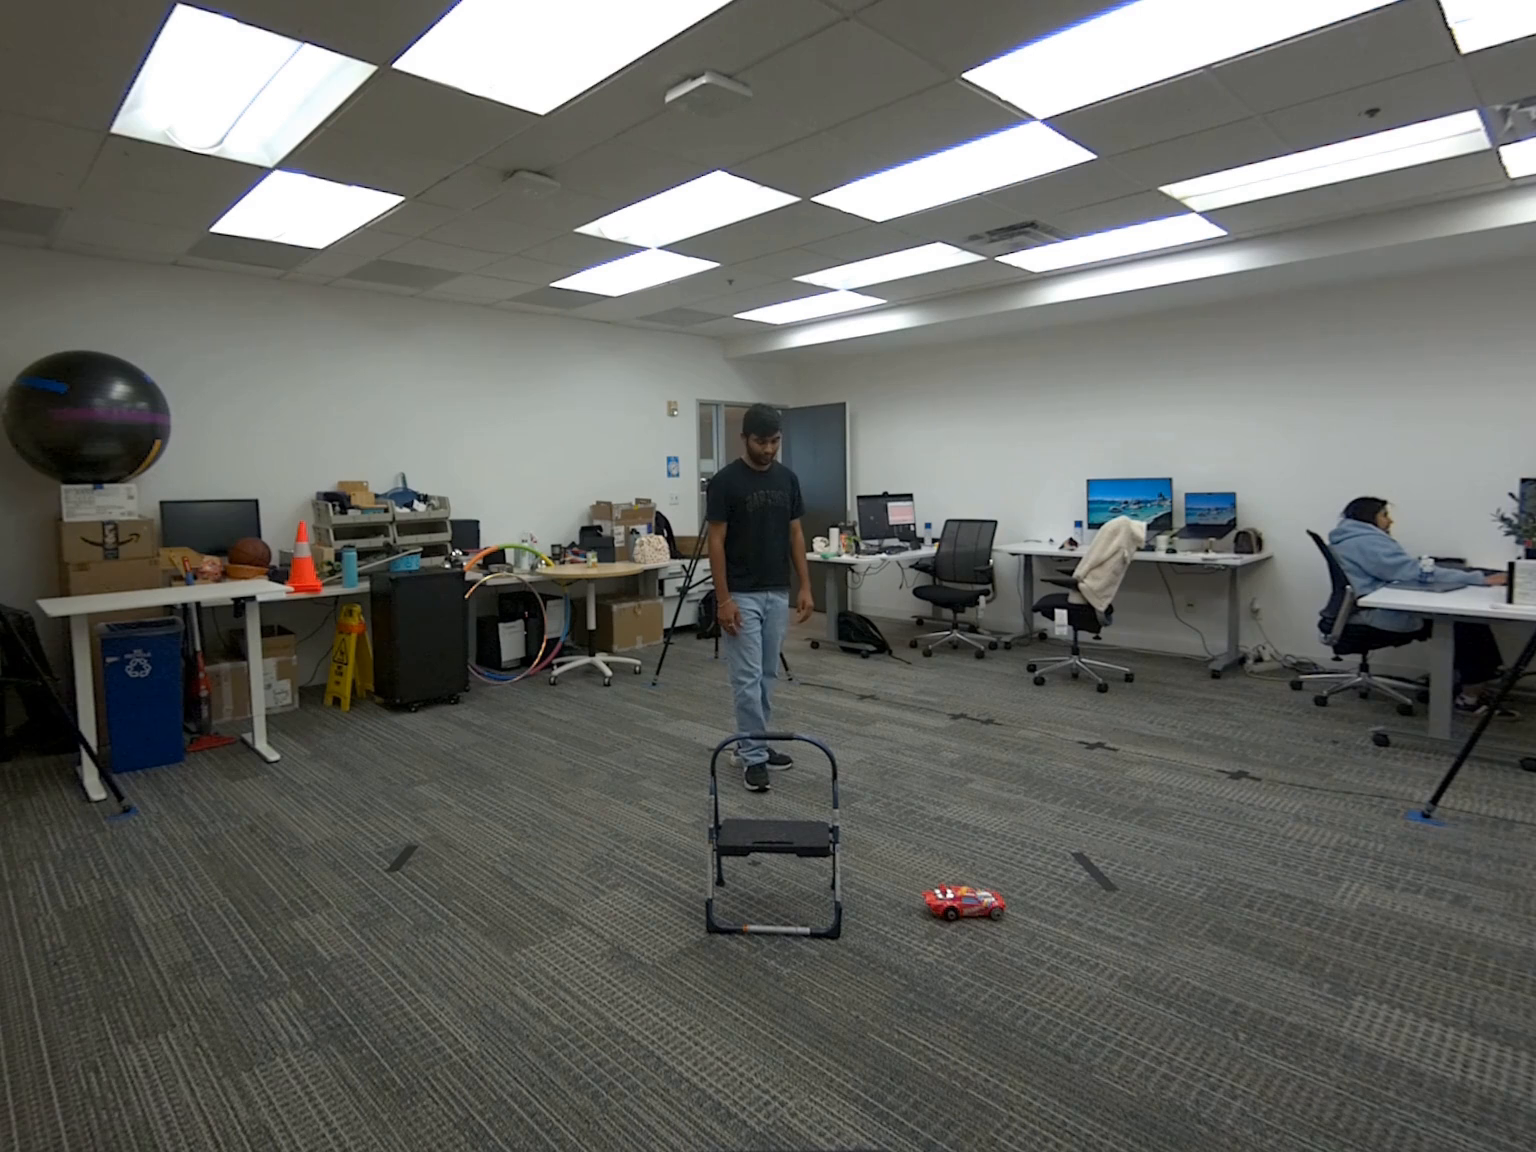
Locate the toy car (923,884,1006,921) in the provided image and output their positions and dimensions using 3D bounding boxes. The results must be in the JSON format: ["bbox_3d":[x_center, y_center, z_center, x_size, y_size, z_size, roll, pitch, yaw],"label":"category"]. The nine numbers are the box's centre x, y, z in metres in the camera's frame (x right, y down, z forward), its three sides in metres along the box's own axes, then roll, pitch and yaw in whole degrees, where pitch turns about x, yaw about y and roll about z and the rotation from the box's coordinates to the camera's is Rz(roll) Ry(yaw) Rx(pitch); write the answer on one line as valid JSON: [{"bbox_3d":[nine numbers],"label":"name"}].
[{"bbox_3d":[0.620,1.037,2.724,0.254,0.083,0.131,10,5,-2],"label":"toy car"}]
